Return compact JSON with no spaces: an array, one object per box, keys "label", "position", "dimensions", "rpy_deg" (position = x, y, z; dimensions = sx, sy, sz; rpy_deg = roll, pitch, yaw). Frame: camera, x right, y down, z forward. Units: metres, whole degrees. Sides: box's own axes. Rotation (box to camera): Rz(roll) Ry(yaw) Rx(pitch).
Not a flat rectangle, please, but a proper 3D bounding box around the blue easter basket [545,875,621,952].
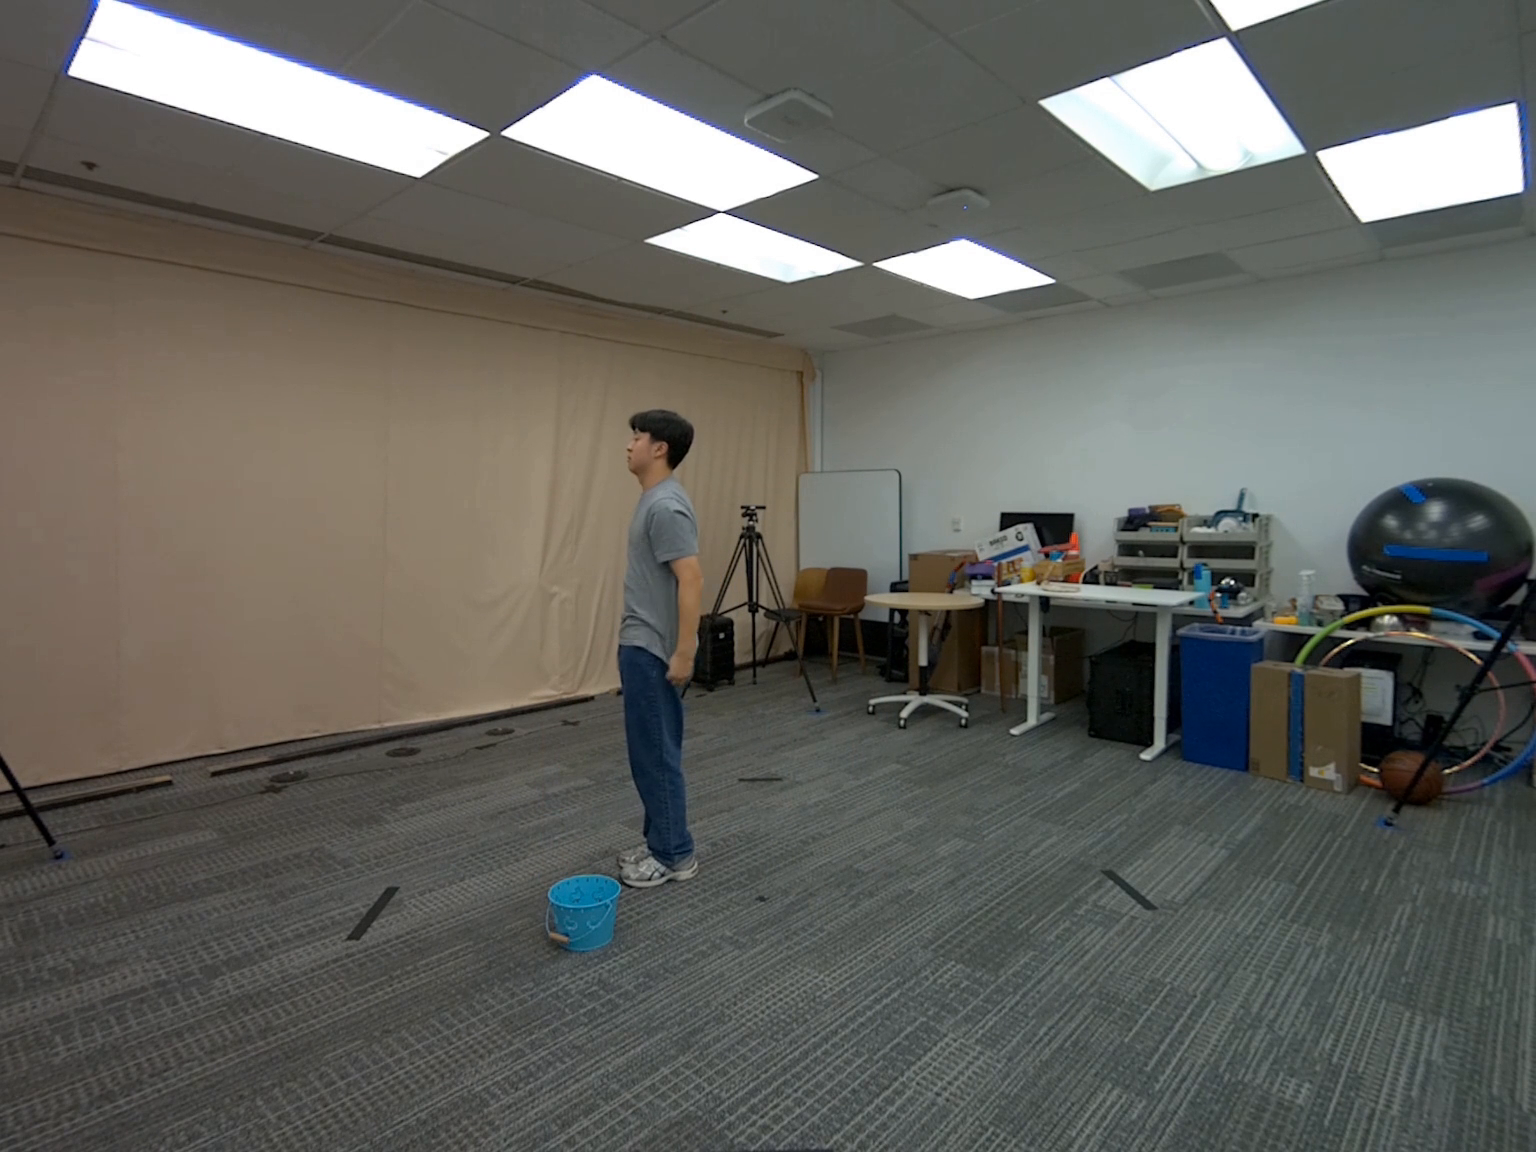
[{"label":"blue easter basket","position":[-0.599,1.094,2.723],"dimensions":[0.243,0.155,0.244],"rpy_deg":[0,4,-2]}]
